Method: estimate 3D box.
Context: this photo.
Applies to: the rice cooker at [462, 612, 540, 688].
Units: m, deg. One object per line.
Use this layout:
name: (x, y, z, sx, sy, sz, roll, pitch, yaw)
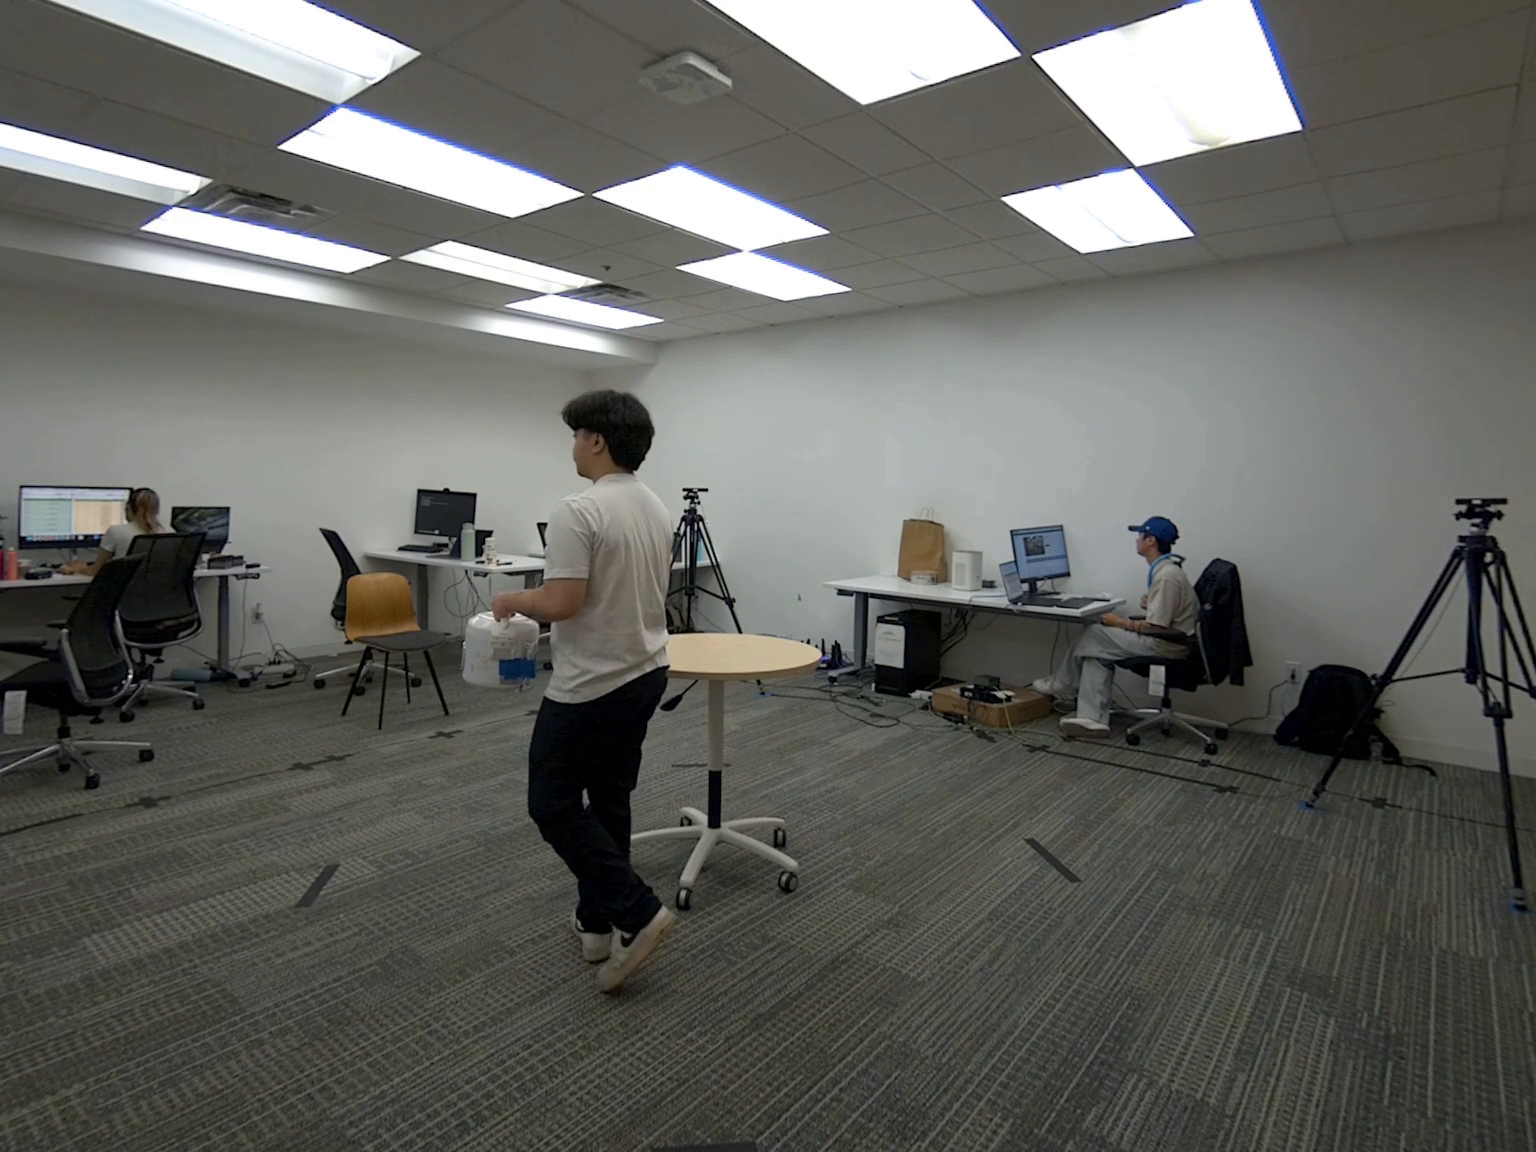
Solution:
rice cooker: (-0.807, 0.211, 2.537, 0.213, 0.232, 0.226, 6, 6, -17)
